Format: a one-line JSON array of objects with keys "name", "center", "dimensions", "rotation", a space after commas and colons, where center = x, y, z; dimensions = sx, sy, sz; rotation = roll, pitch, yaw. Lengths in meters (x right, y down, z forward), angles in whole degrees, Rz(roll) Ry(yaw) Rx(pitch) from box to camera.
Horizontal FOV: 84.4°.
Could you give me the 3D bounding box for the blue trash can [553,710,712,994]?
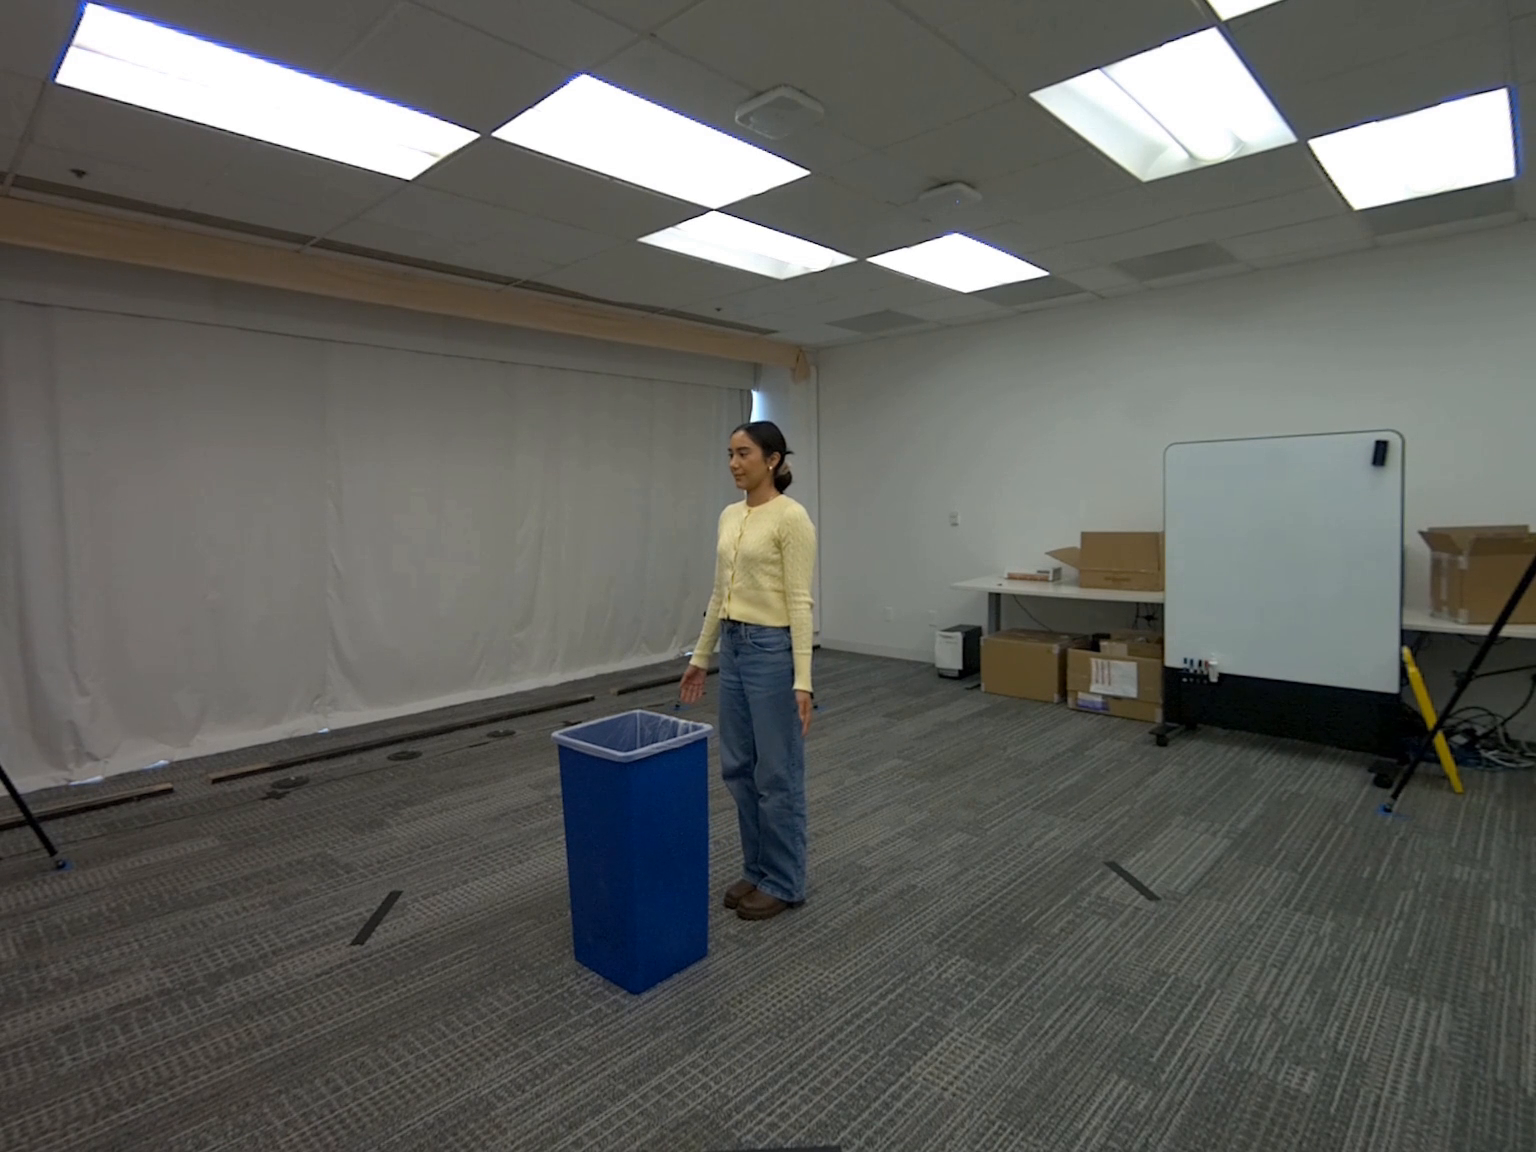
[{"name": "blue trash can", "center": [-0.402, 0.825, 2.572], "dimensions": [0.390, 0.712, 0.363], "rotation": [1, 4, 42]}]
